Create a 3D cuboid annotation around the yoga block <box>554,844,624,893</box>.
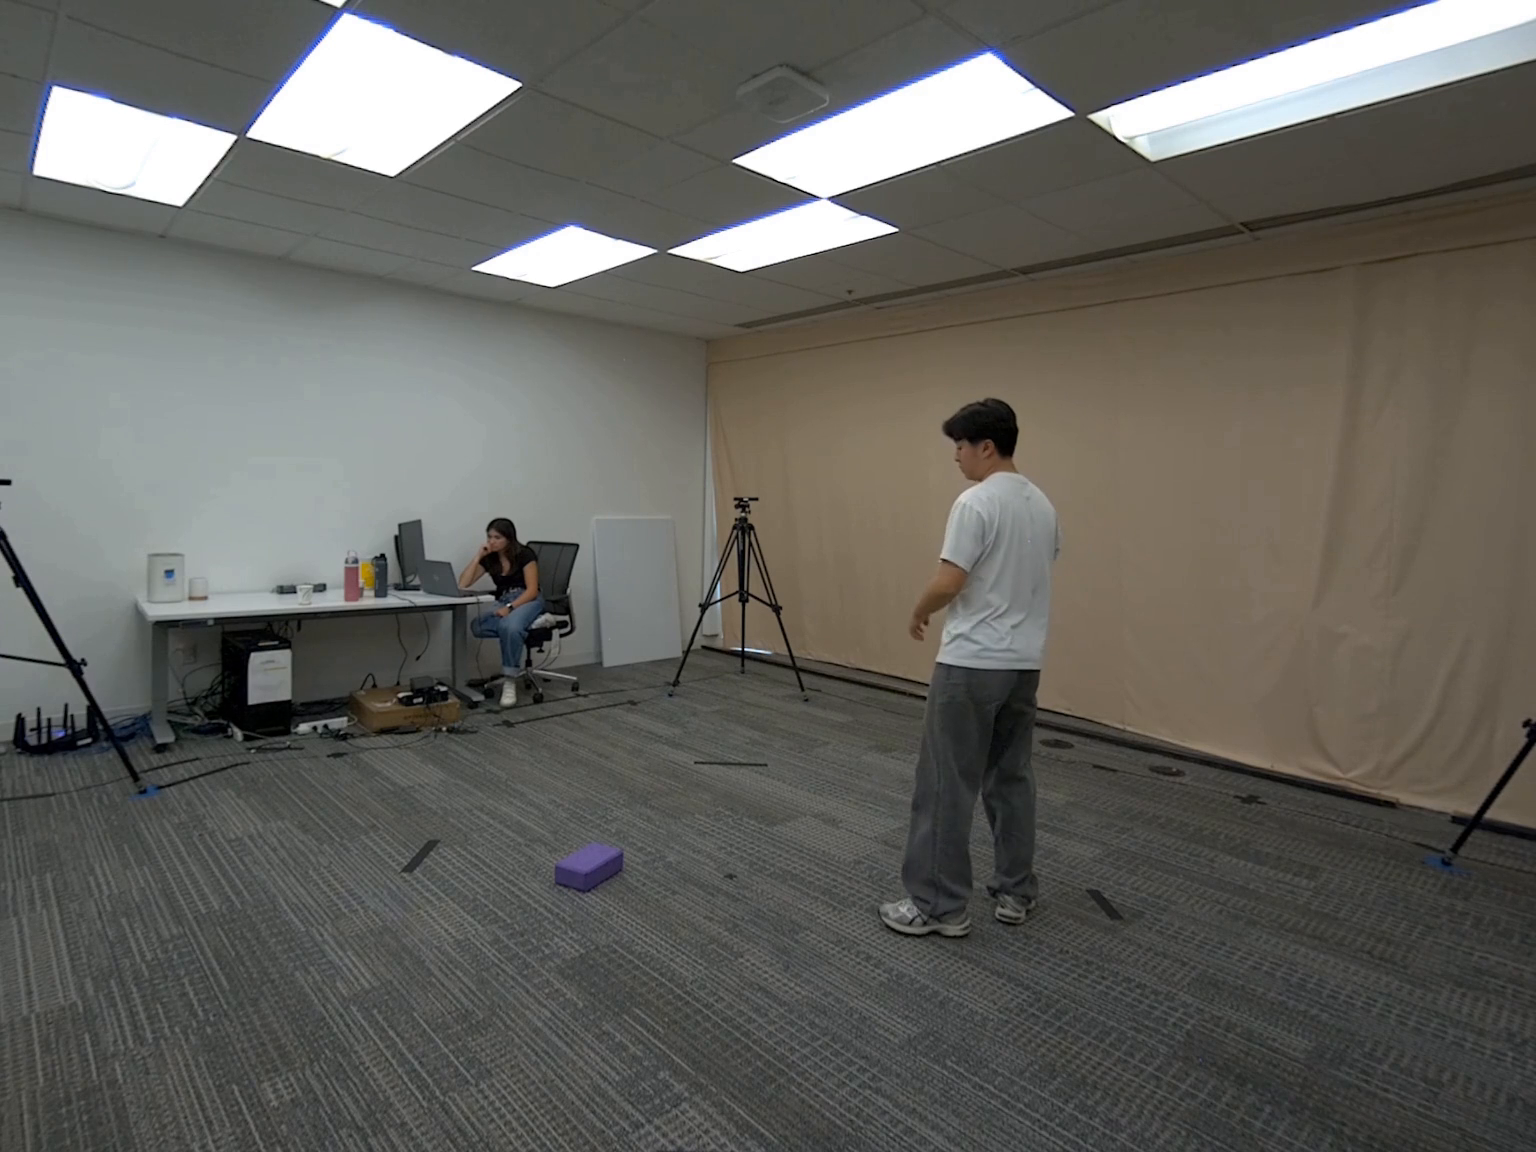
[{"bbox_3d":[-0.652,1.052,3.071,0.152,0.076,0.225,4,6,28],"label":"yoga block"}]
